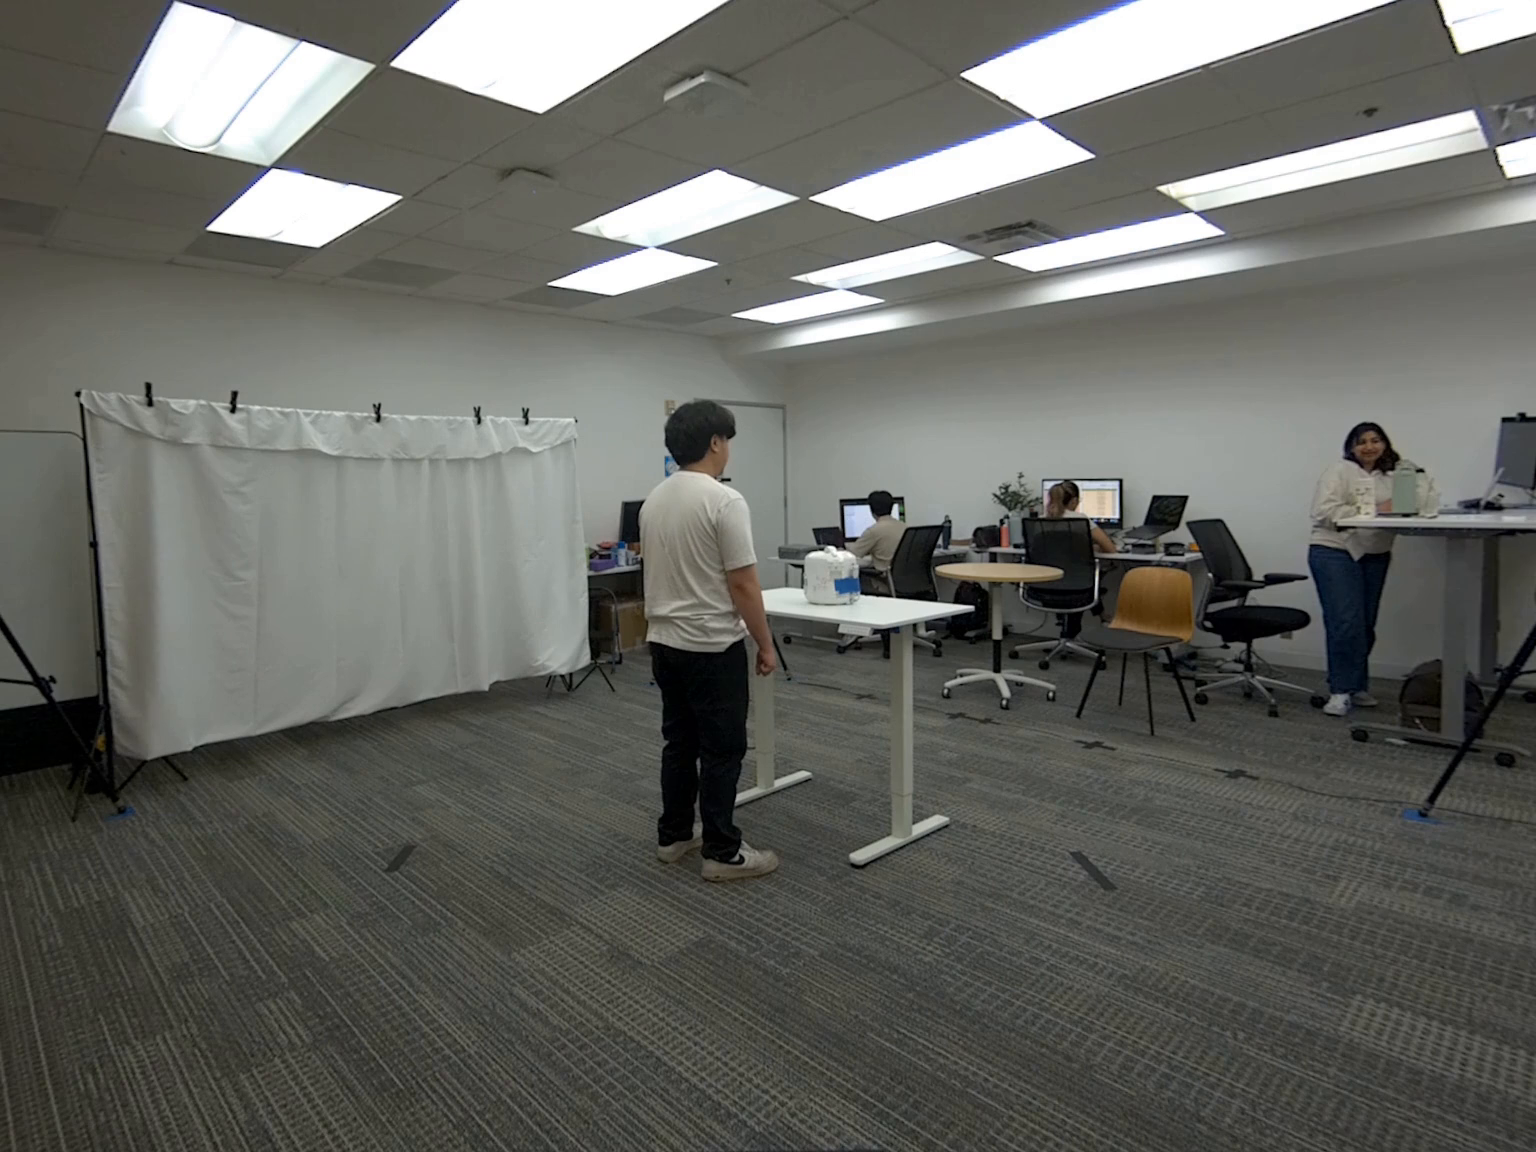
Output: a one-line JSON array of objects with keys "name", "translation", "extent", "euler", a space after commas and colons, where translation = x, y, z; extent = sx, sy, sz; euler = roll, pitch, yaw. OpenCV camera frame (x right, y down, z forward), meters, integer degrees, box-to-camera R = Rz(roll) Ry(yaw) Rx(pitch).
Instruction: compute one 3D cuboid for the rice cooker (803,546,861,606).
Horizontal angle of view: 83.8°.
[{"name": "rice cooker", "translation": [0.260, -0.006, 3.490], "extent": [0.217, 0.232, 0.222], "euler": [-1, 3, -5]}]
